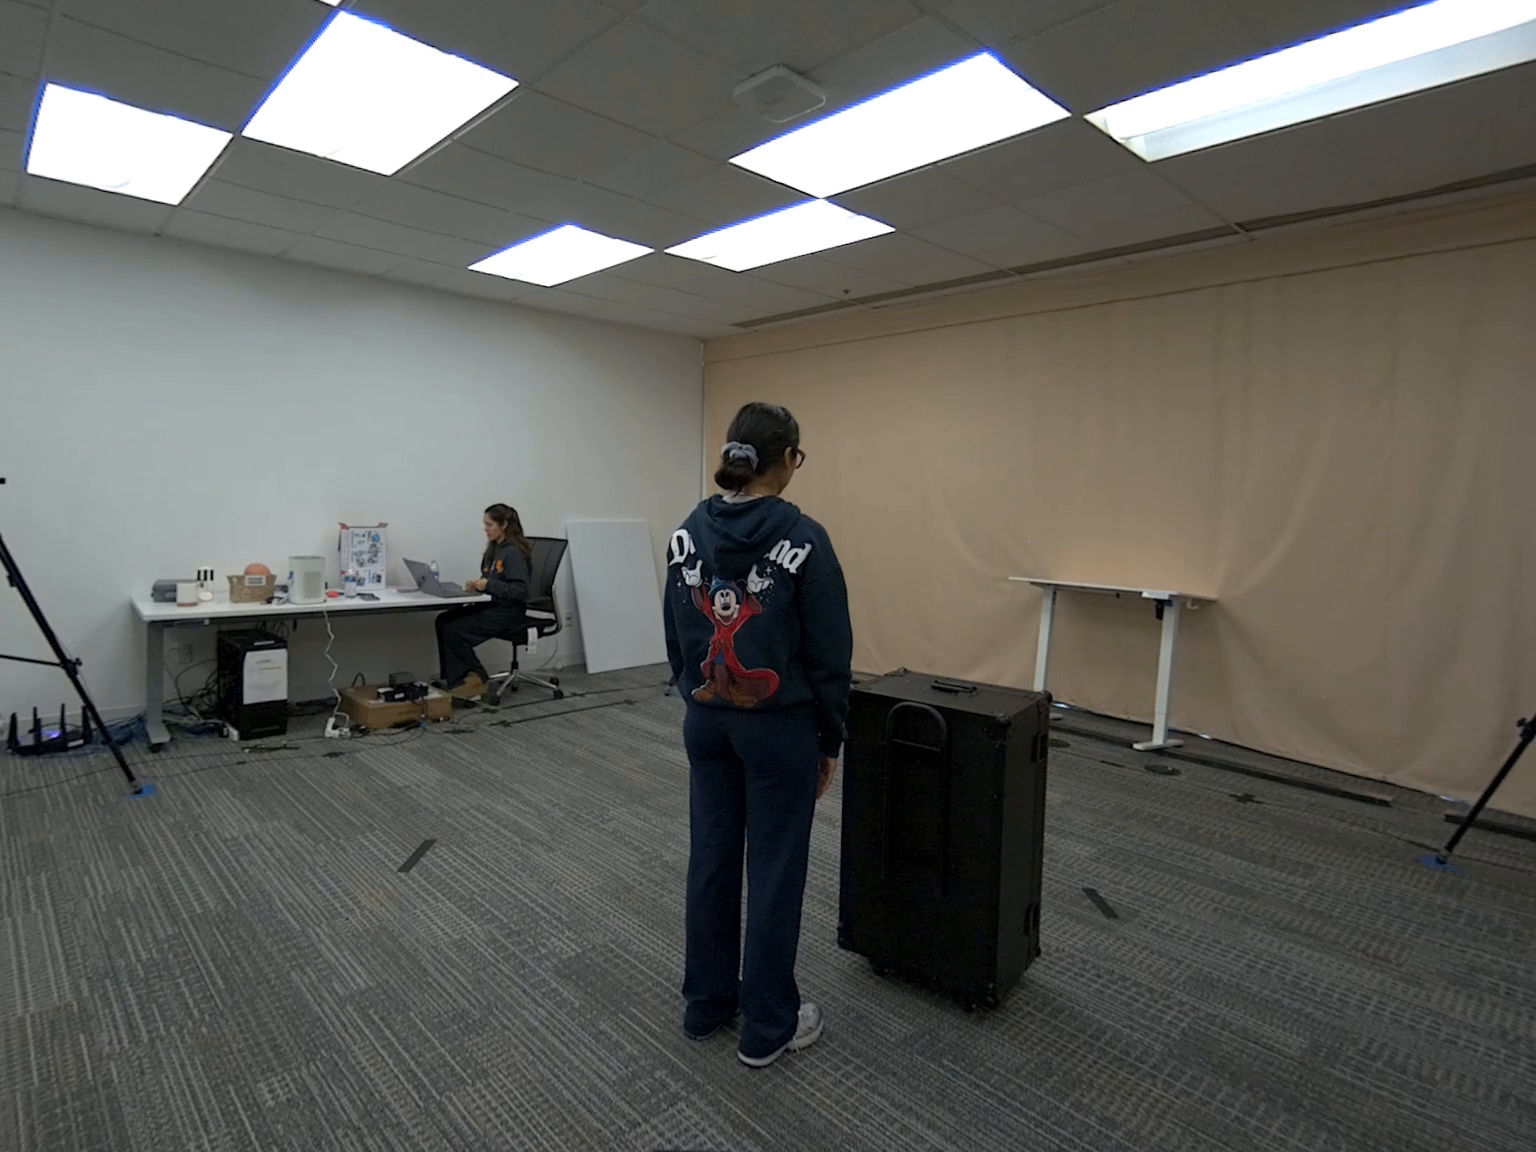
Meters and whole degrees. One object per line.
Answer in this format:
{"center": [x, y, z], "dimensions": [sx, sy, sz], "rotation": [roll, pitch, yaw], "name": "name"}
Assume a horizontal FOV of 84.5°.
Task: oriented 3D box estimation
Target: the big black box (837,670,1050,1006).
{"center": [0.511, 0.755, 2.459], "dimensions": [0.534, 0.858, 0.388], "rotation": [4, 6, 37], "name": "big black box"}
